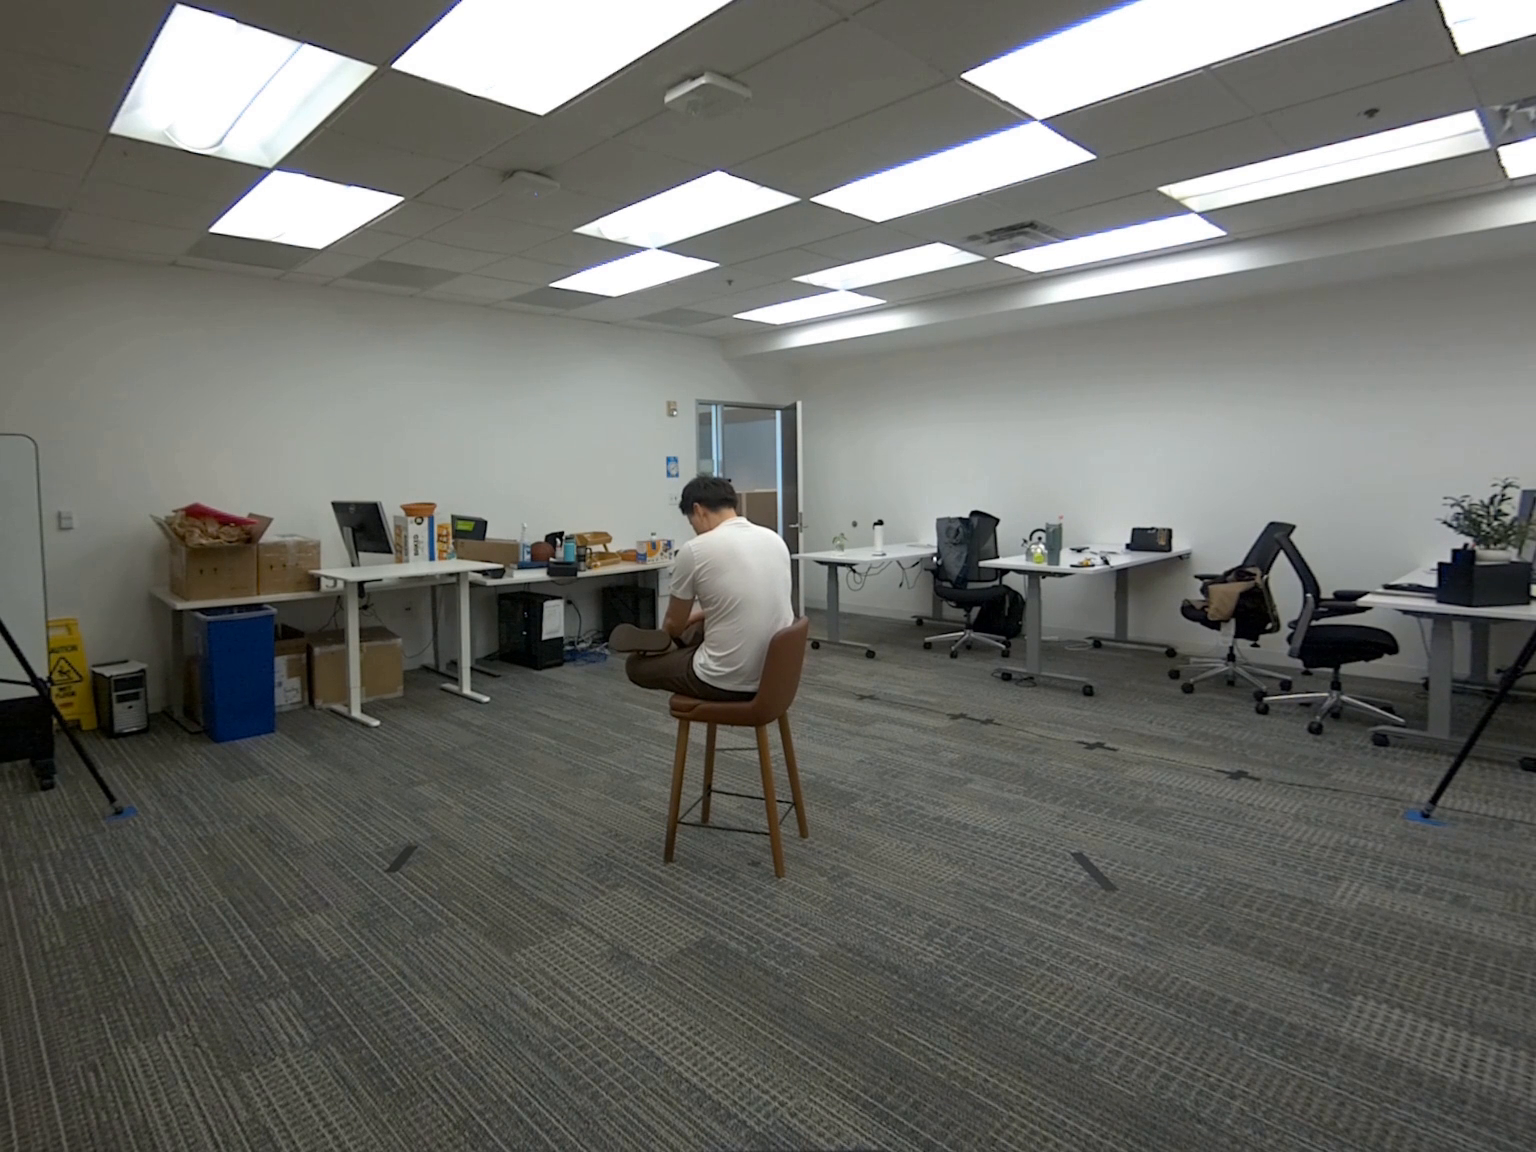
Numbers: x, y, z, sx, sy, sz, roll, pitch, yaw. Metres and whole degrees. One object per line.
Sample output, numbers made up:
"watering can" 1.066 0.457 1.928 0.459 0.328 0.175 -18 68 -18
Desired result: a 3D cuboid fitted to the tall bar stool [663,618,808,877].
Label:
"tall bar stool" -0.102 0.604 3.210 0.477 0.886 0.449 3 5 20
